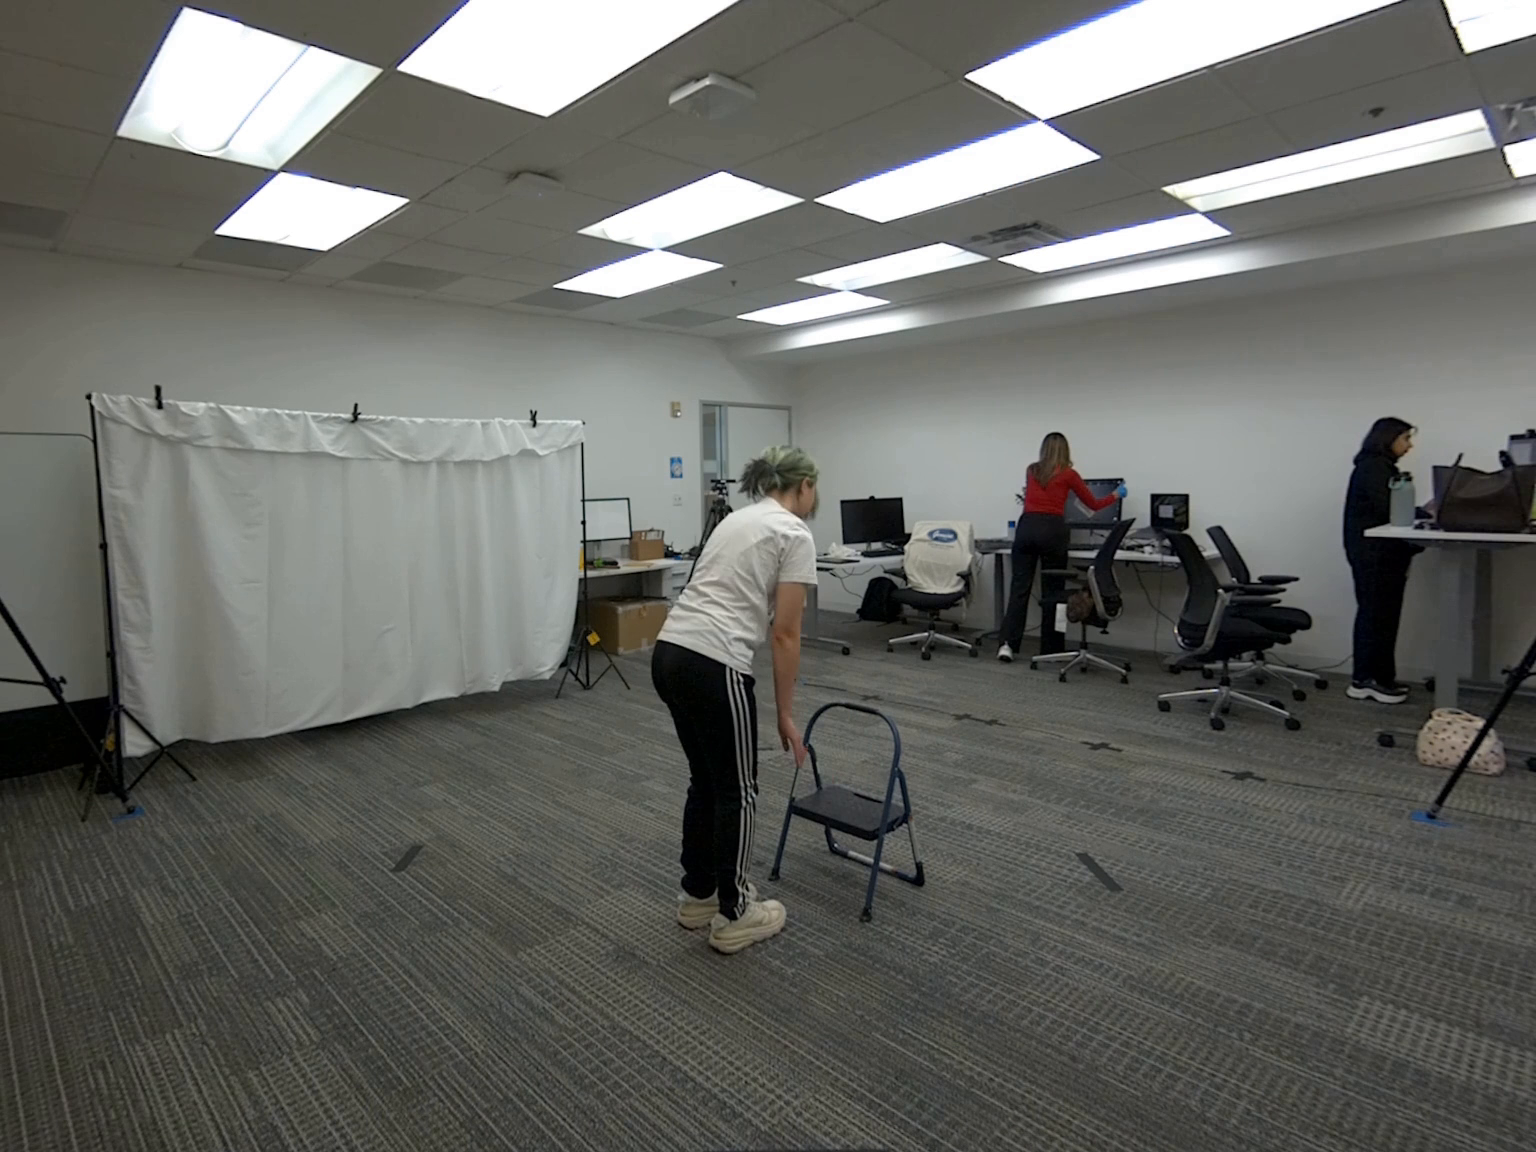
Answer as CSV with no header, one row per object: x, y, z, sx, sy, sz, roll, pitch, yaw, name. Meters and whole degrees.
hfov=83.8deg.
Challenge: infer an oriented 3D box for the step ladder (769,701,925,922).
0.267,0.757,2.937,0.444,0.603,0.340,4,7,45,step ladder
